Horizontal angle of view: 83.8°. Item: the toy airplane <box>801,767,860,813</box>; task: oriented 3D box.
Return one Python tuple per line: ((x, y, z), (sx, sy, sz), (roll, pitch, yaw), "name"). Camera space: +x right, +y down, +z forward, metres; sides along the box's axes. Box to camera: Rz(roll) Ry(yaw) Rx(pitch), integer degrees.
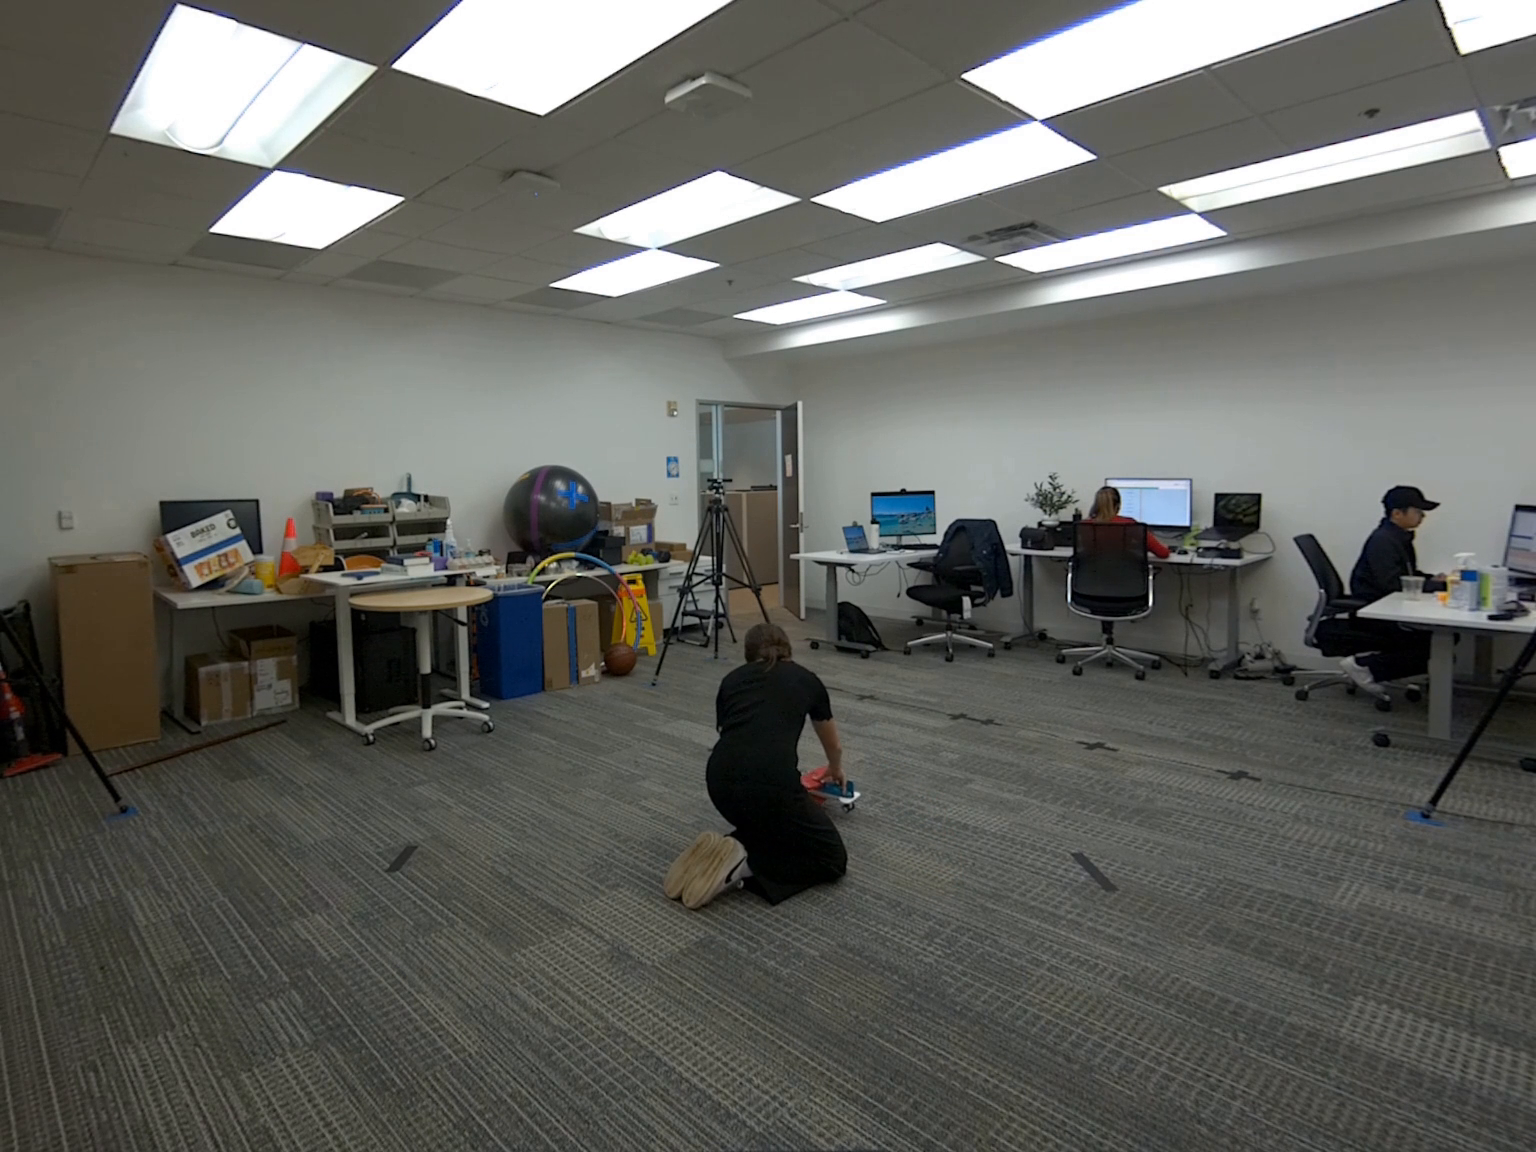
((0.258, 0.902, 3.580), (0.261, 0.156, 0.249), (-9, 1, 9), "toy airplane")
